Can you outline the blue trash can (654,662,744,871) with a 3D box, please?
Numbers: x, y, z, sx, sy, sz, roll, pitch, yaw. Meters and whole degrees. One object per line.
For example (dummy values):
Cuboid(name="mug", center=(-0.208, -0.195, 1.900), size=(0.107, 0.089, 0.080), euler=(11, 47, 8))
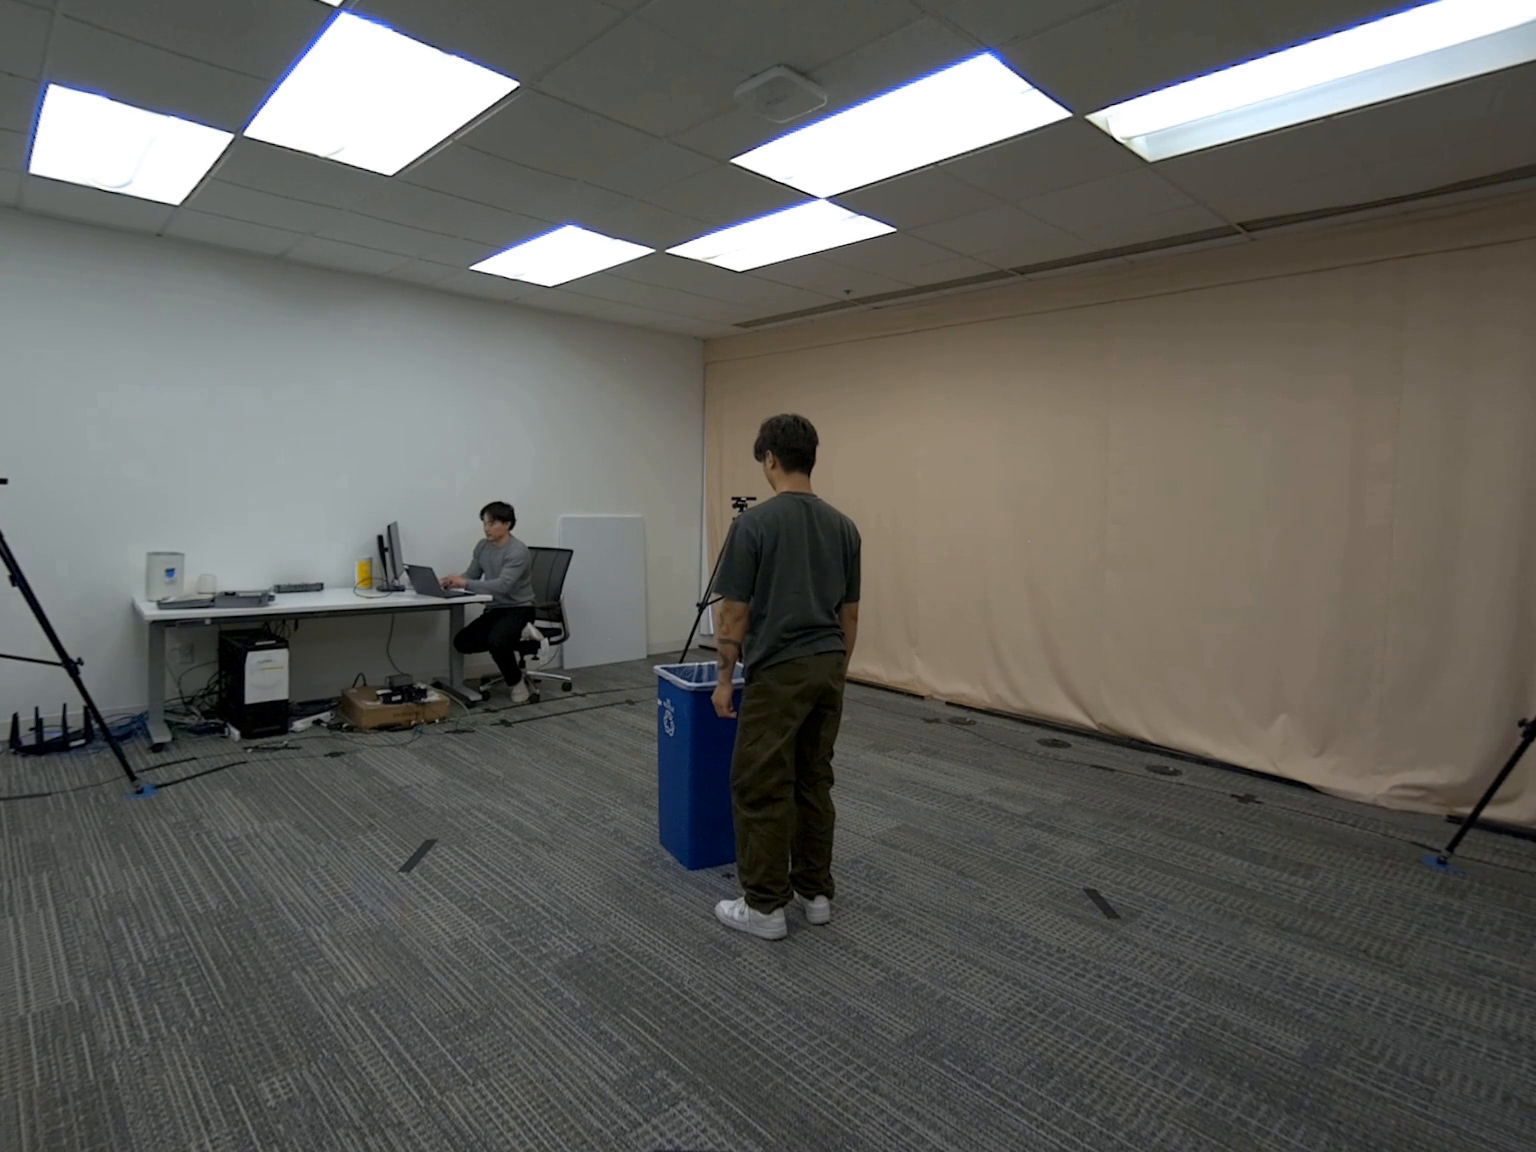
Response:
Cuboid(name="blue trash can", center=(-0.240, 0.730, 3.307), size=(0.366, 0.712, 0.386), euler=(0, 4, -29))
